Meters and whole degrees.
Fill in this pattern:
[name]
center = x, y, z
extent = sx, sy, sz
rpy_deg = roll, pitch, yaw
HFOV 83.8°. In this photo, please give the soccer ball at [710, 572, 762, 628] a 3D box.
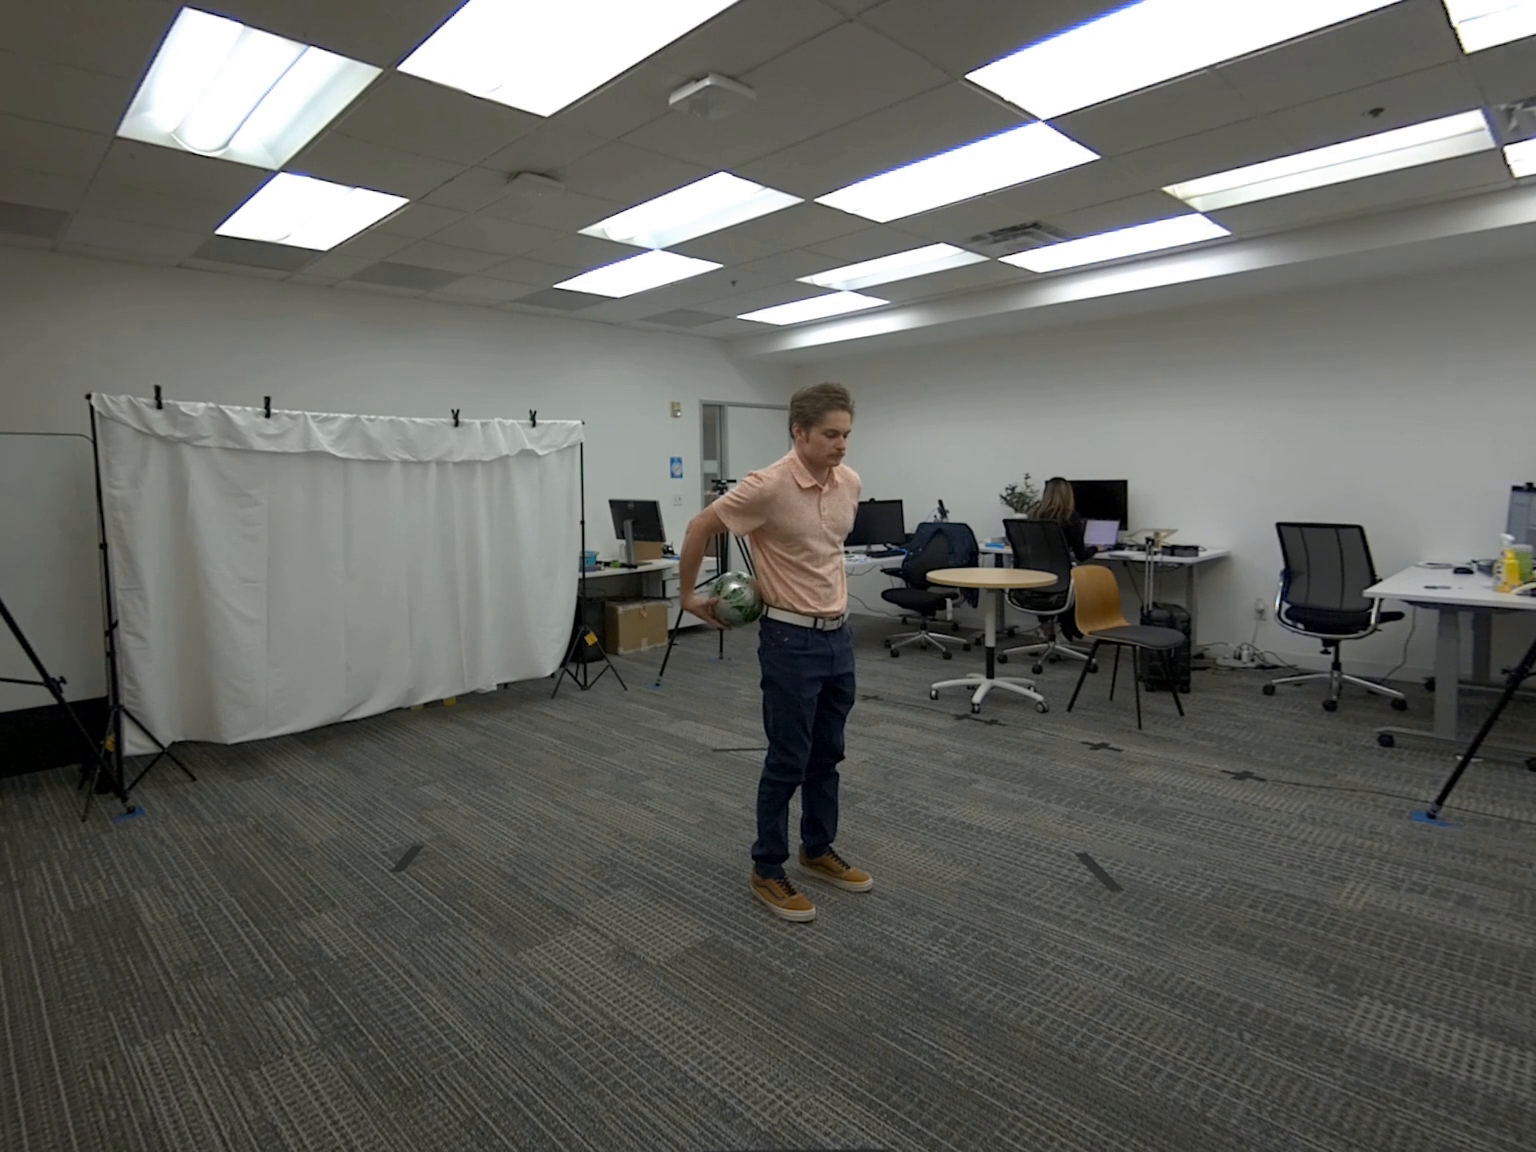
[soccer ball]
center = -0.097, 0.074, 2.837
extent = 0.187, 0.187, 0.188
rpy_deg = -1, 5, -2
